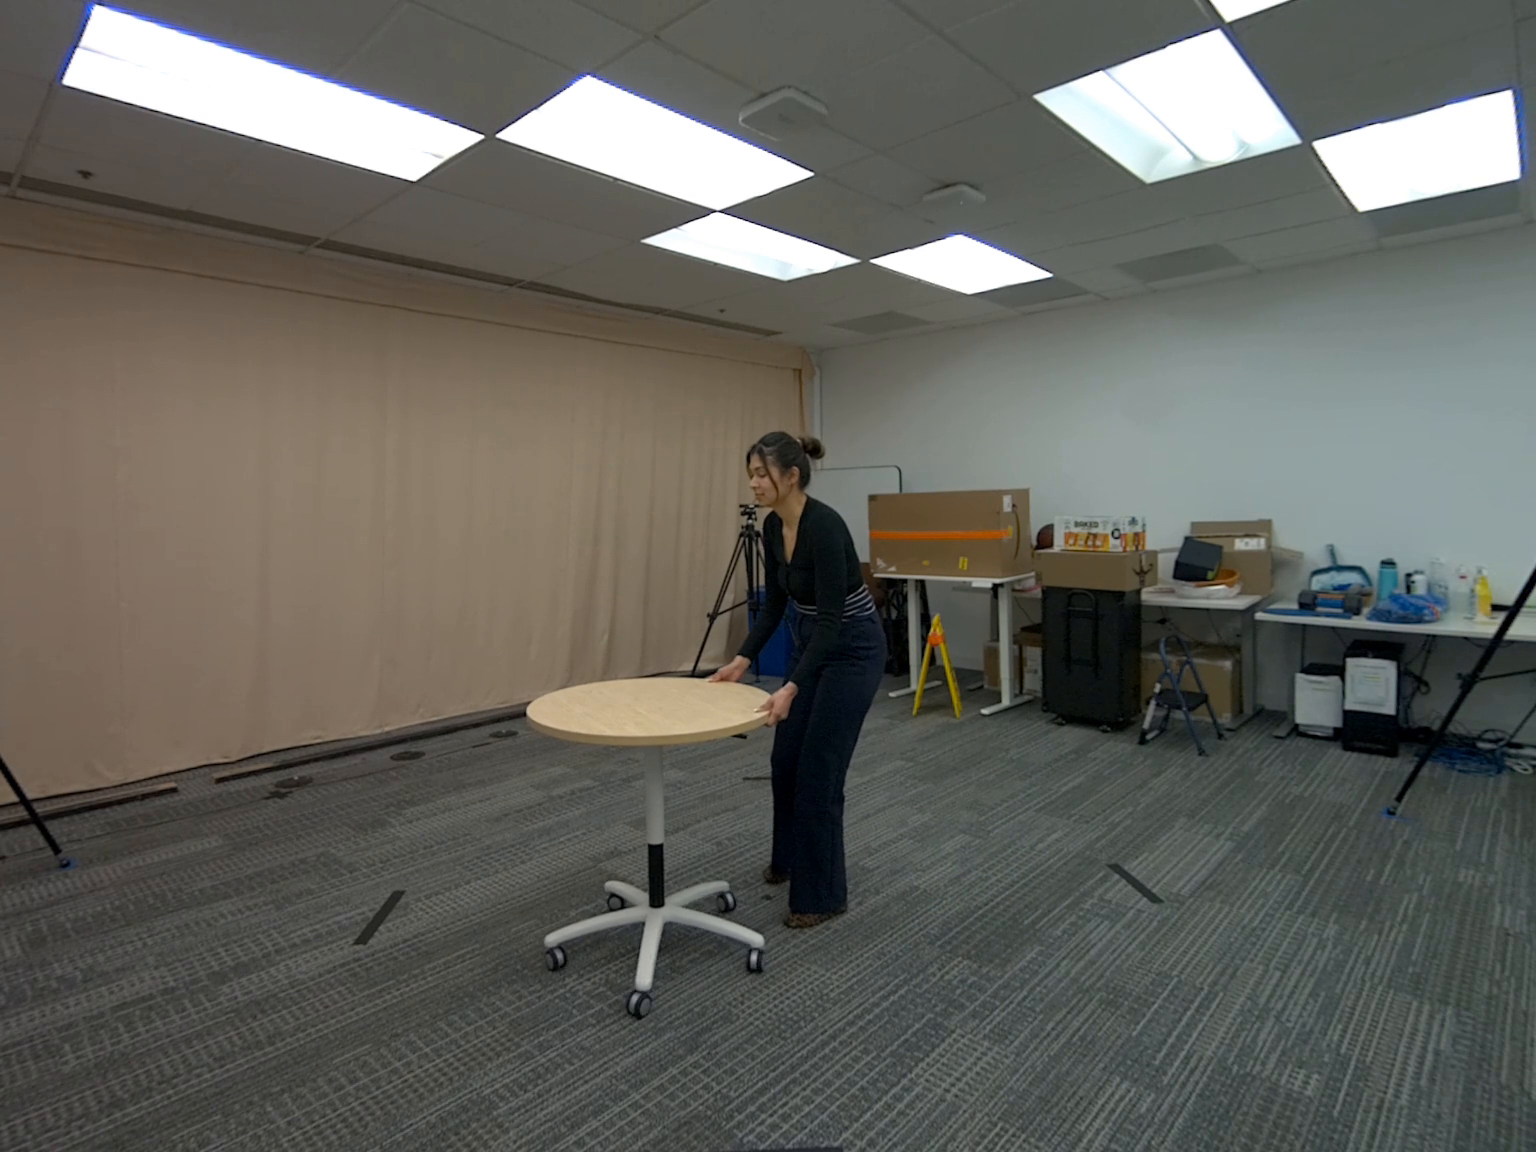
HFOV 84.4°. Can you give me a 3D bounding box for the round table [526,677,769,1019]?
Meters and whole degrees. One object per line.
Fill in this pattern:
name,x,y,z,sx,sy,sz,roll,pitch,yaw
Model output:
round table,-0.346,0.789,2.631,0.763,0.792,0.766,-1,4,-2
